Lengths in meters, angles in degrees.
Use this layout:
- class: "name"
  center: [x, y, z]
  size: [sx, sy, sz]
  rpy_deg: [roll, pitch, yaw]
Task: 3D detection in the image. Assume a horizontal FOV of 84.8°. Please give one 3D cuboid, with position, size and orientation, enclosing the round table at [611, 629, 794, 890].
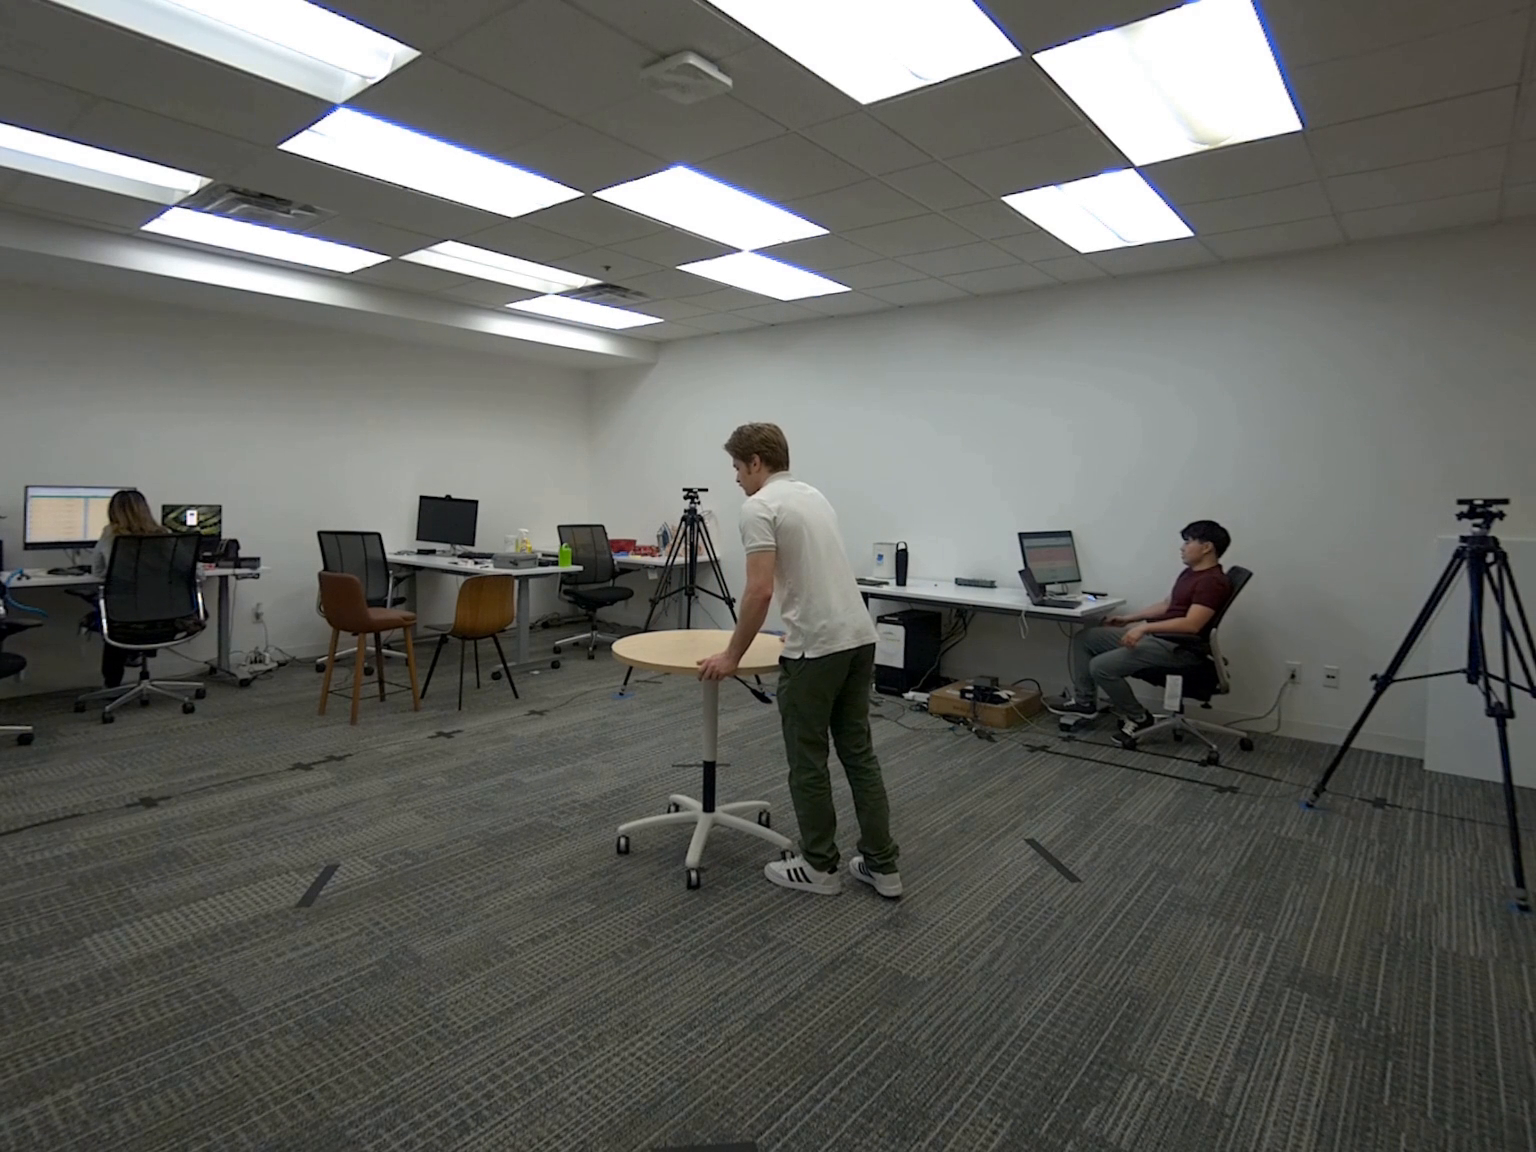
- class: "round table"
  center: [-0.240, 0.661, 3.294]
  size: [0.763, 0.791, 0.768]
  rpy_deg: [1, 4, -2]
